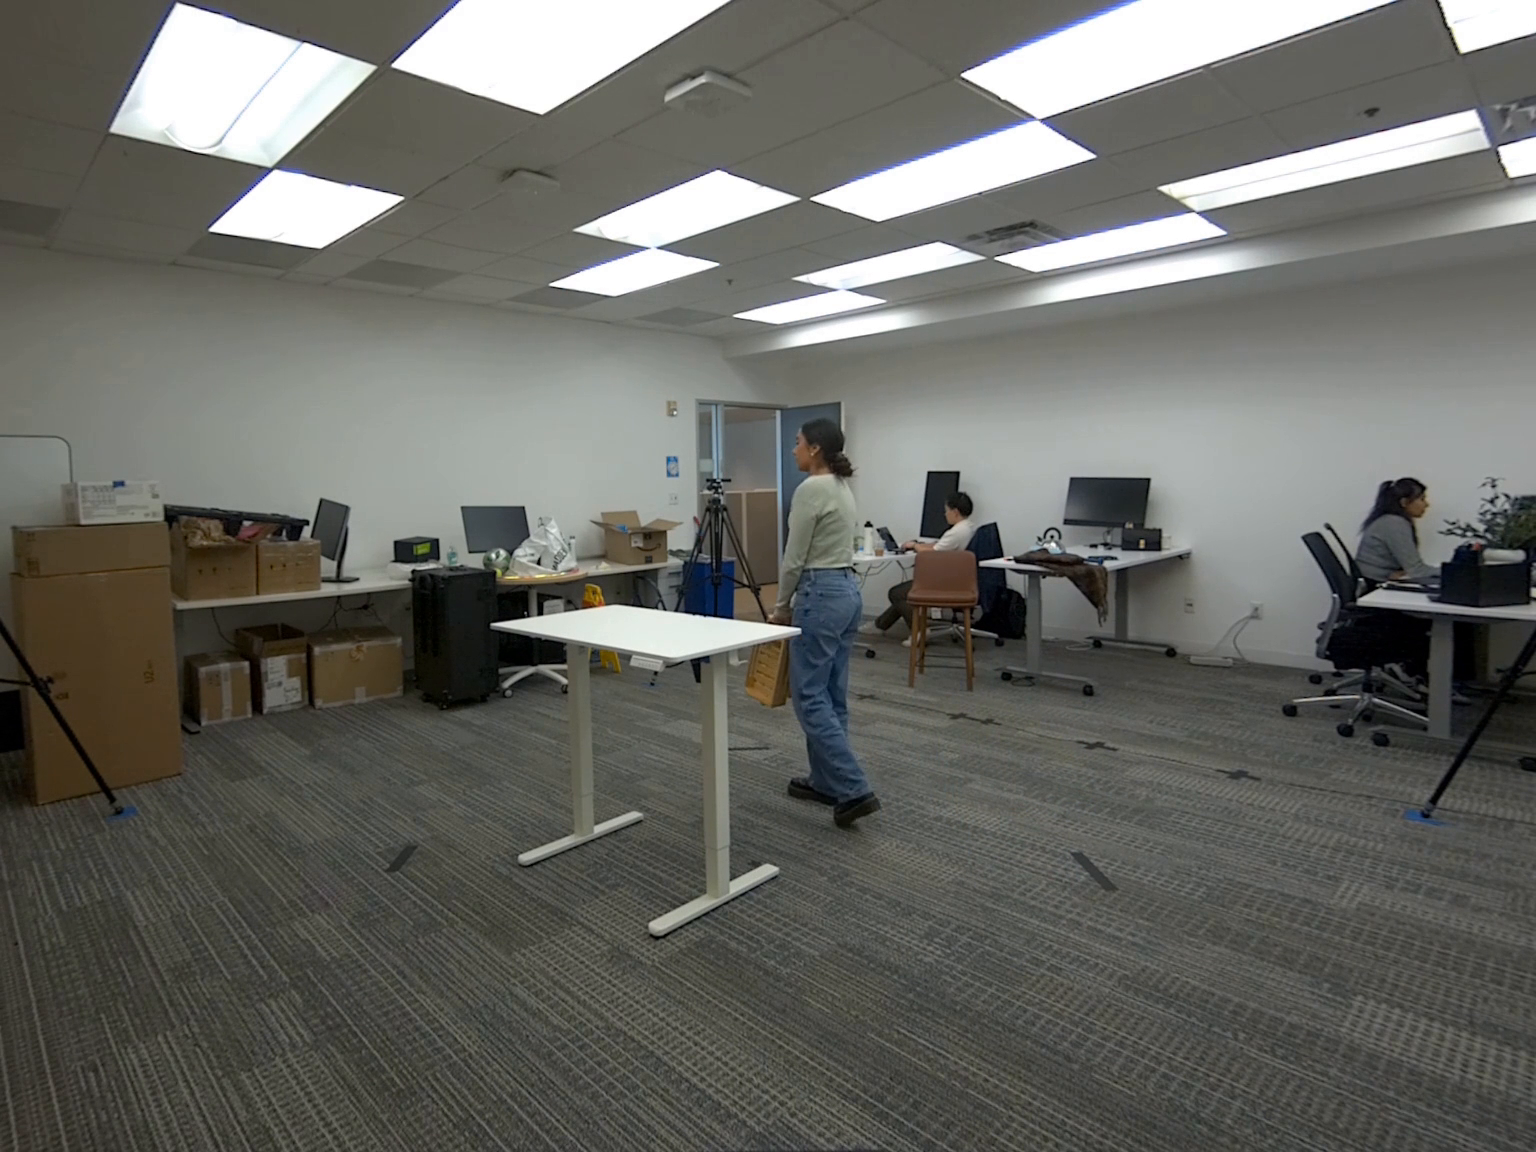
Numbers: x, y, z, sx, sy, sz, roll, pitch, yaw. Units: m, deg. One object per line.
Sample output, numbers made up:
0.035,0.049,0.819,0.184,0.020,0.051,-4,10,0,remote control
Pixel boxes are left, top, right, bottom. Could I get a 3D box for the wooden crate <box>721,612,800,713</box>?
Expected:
0.023,0.364,3.740,0.265,0.322,0.313,-1,15,-45,wooden crate
